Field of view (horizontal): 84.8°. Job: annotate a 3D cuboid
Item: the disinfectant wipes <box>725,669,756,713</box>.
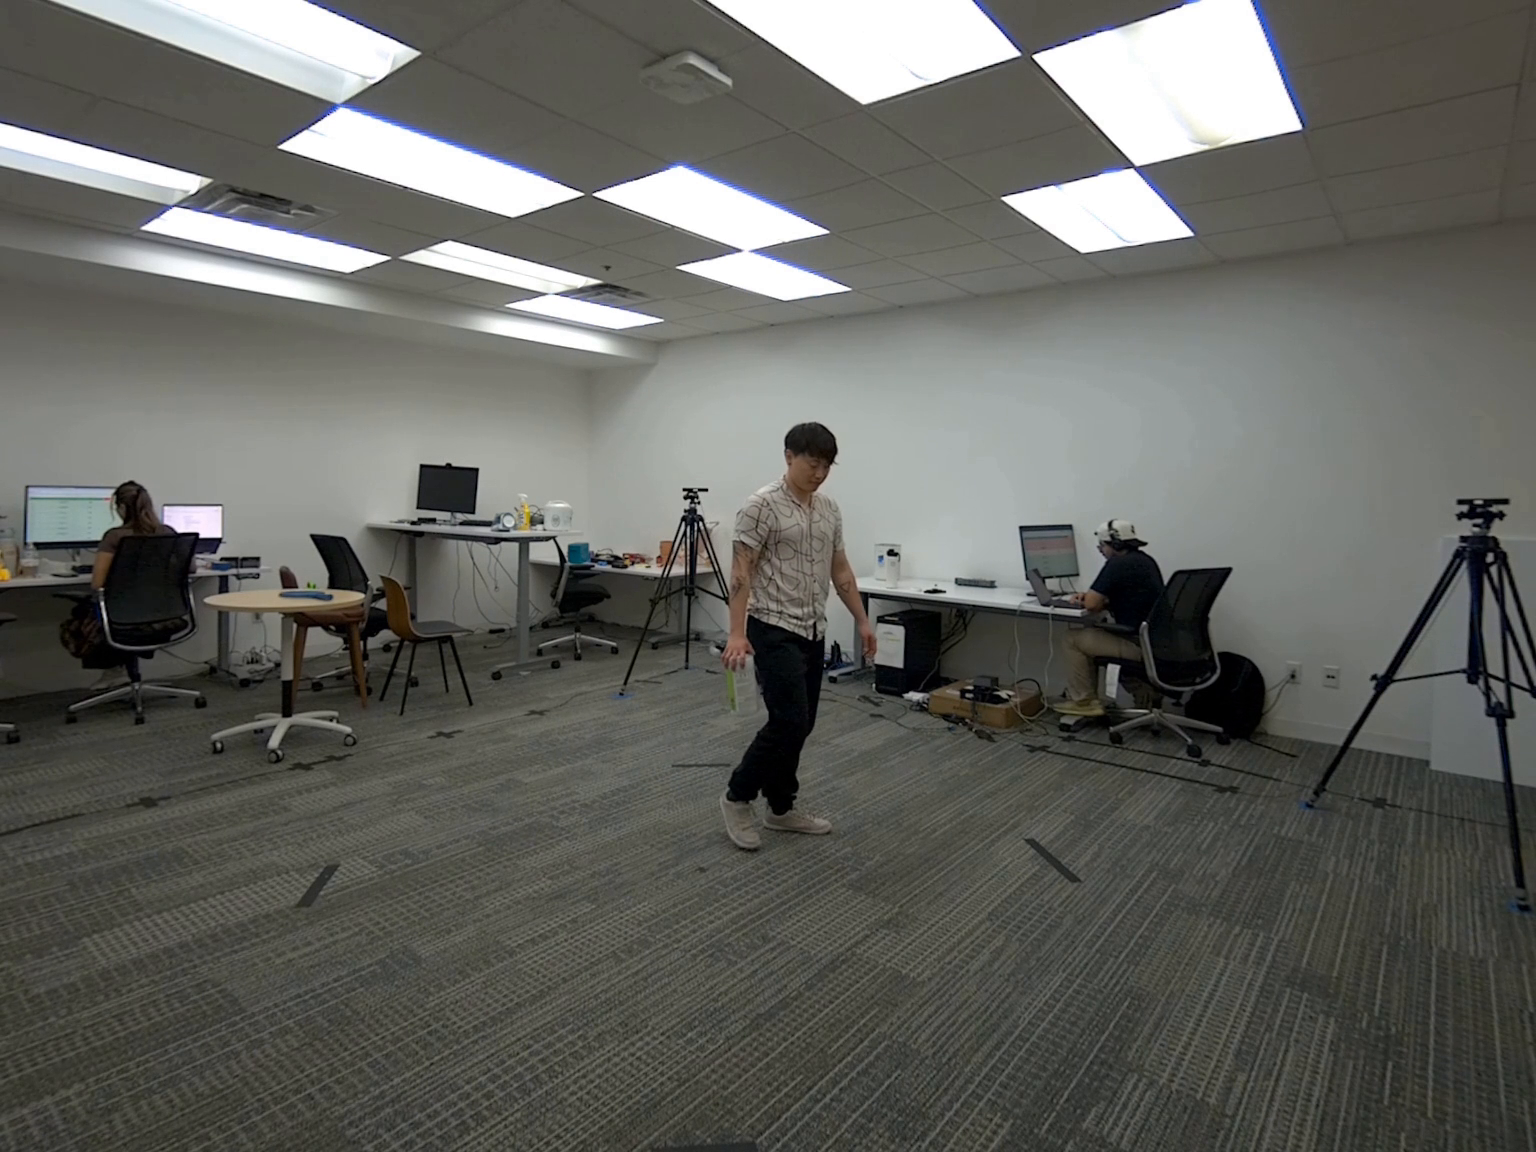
[{"bbox_3d":[-0.105,0.413,3.230,0.118,0.216,0.118,-6,6,-1],"label":"disinfectant wipes"}]
